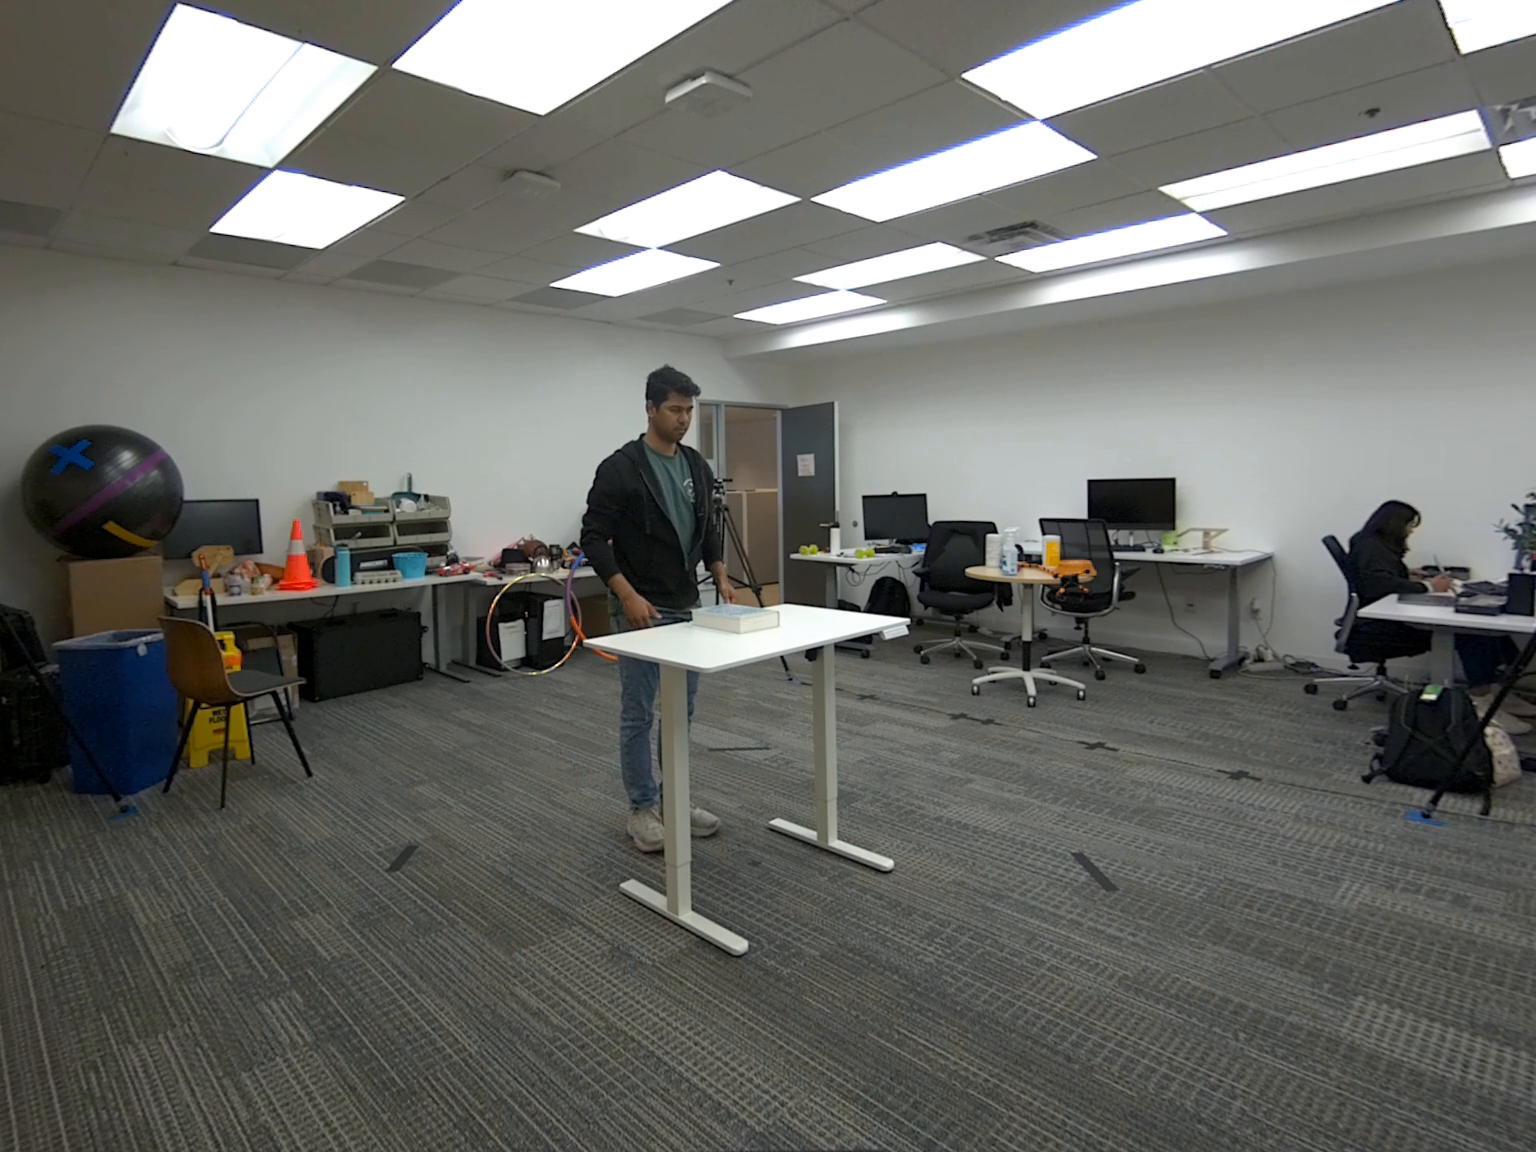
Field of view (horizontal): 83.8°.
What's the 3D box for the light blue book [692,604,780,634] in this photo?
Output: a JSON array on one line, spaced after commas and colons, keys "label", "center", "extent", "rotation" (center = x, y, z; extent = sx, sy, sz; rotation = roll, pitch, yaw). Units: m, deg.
[{"label": "light blue book", "center": [-0.119, 0.150, 2.989], "extent": [0.186, 0.059, 0.269], "rotation": [-6, 8, -42]}]
